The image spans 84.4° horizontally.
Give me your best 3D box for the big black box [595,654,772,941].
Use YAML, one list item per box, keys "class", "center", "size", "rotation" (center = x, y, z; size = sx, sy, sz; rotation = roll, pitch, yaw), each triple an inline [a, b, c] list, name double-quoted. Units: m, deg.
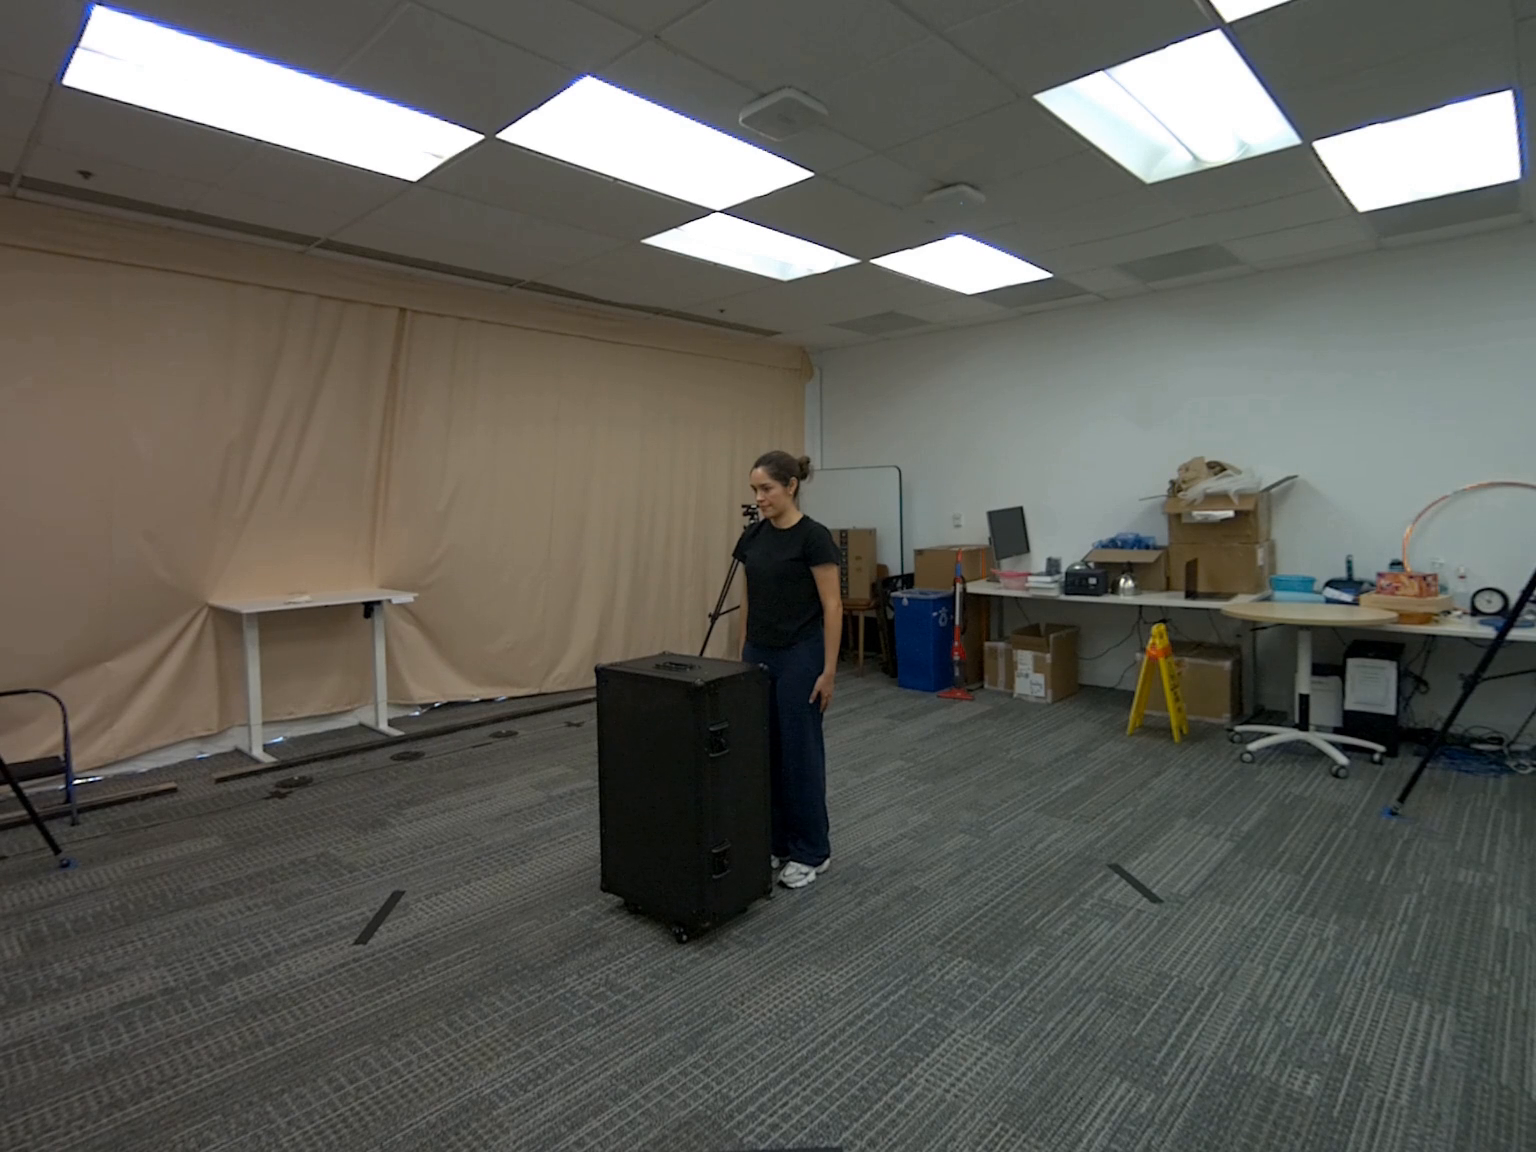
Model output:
- class: "big black box"
  center: [-0.278, 0.730, 2.870]
  size: [0.538, 0.859, 0.384]
  rotation: [2, 4, 38]
